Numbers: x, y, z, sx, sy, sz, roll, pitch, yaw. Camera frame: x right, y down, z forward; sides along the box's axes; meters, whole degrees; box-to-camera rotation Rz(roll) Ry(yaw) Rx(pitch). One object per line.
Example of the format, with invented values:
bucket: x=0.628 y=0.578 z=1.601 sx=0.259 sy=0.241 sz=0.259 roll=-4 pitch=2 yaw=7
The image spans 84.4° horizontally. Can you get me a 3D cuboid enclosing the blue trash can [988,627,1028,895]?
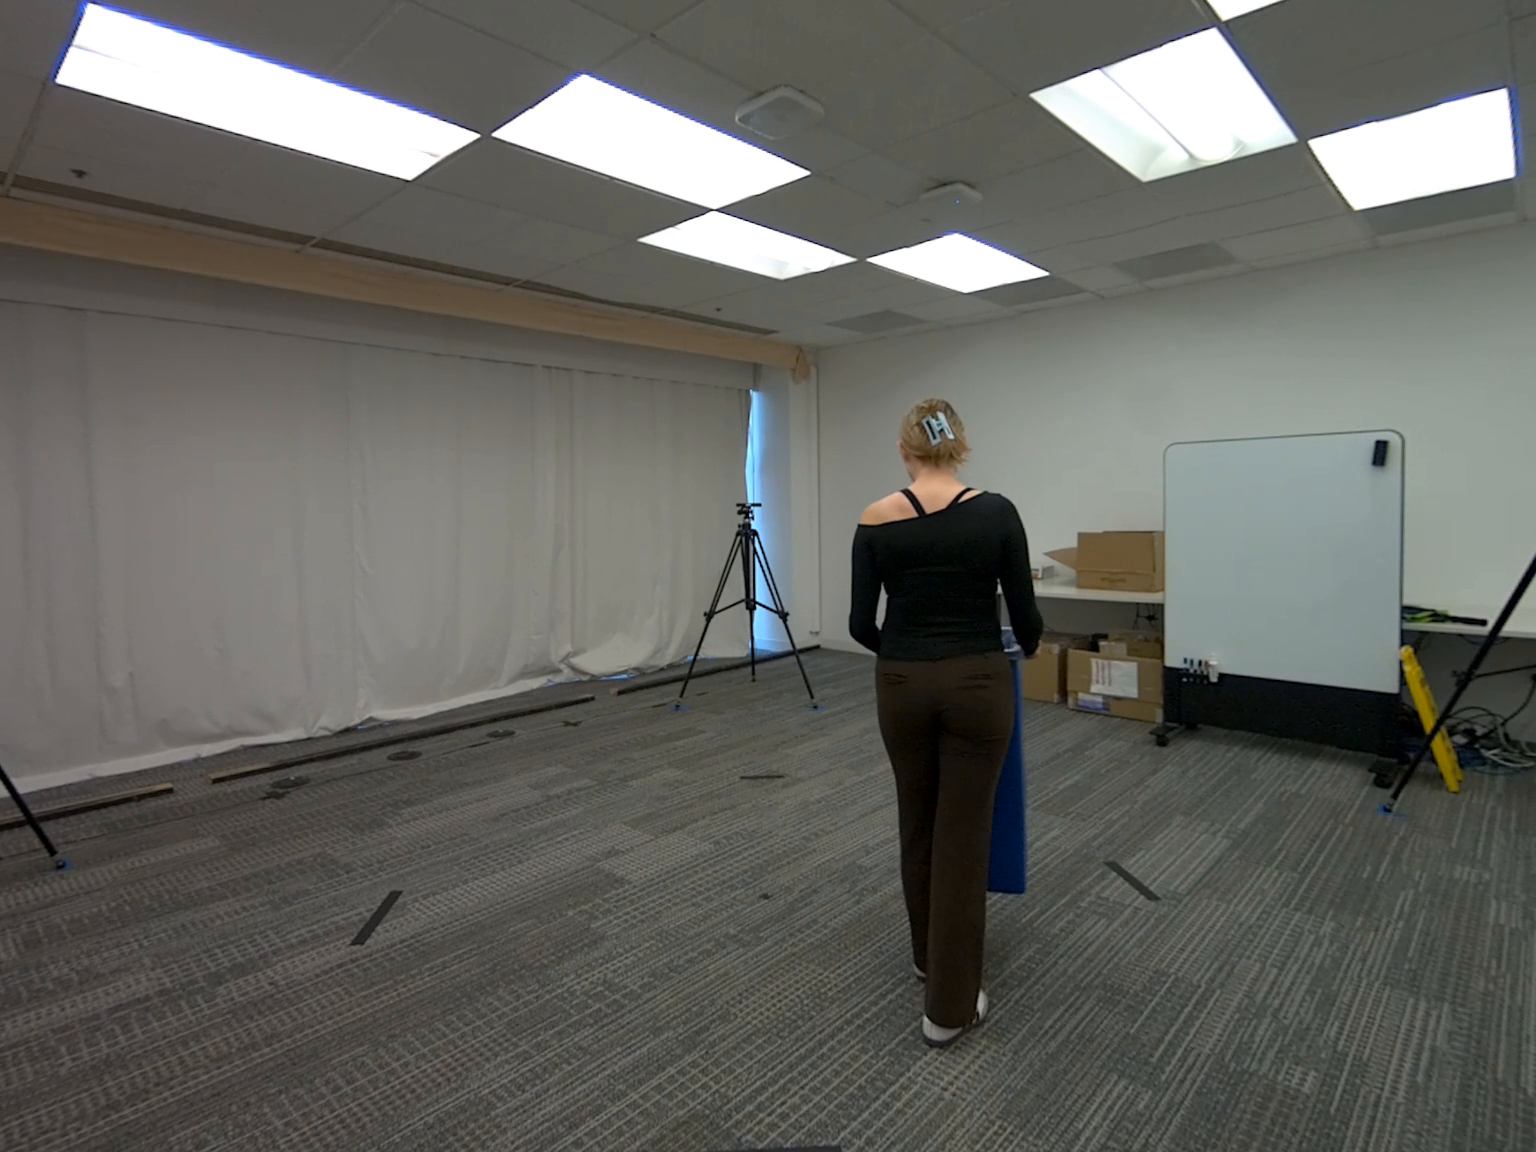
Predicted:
blue trash can: x=0.611 y=0.548 z=2.559 sx=0.382 sy=0.712 sz=0.371 roll=-2 pitch=4 yaw=20
